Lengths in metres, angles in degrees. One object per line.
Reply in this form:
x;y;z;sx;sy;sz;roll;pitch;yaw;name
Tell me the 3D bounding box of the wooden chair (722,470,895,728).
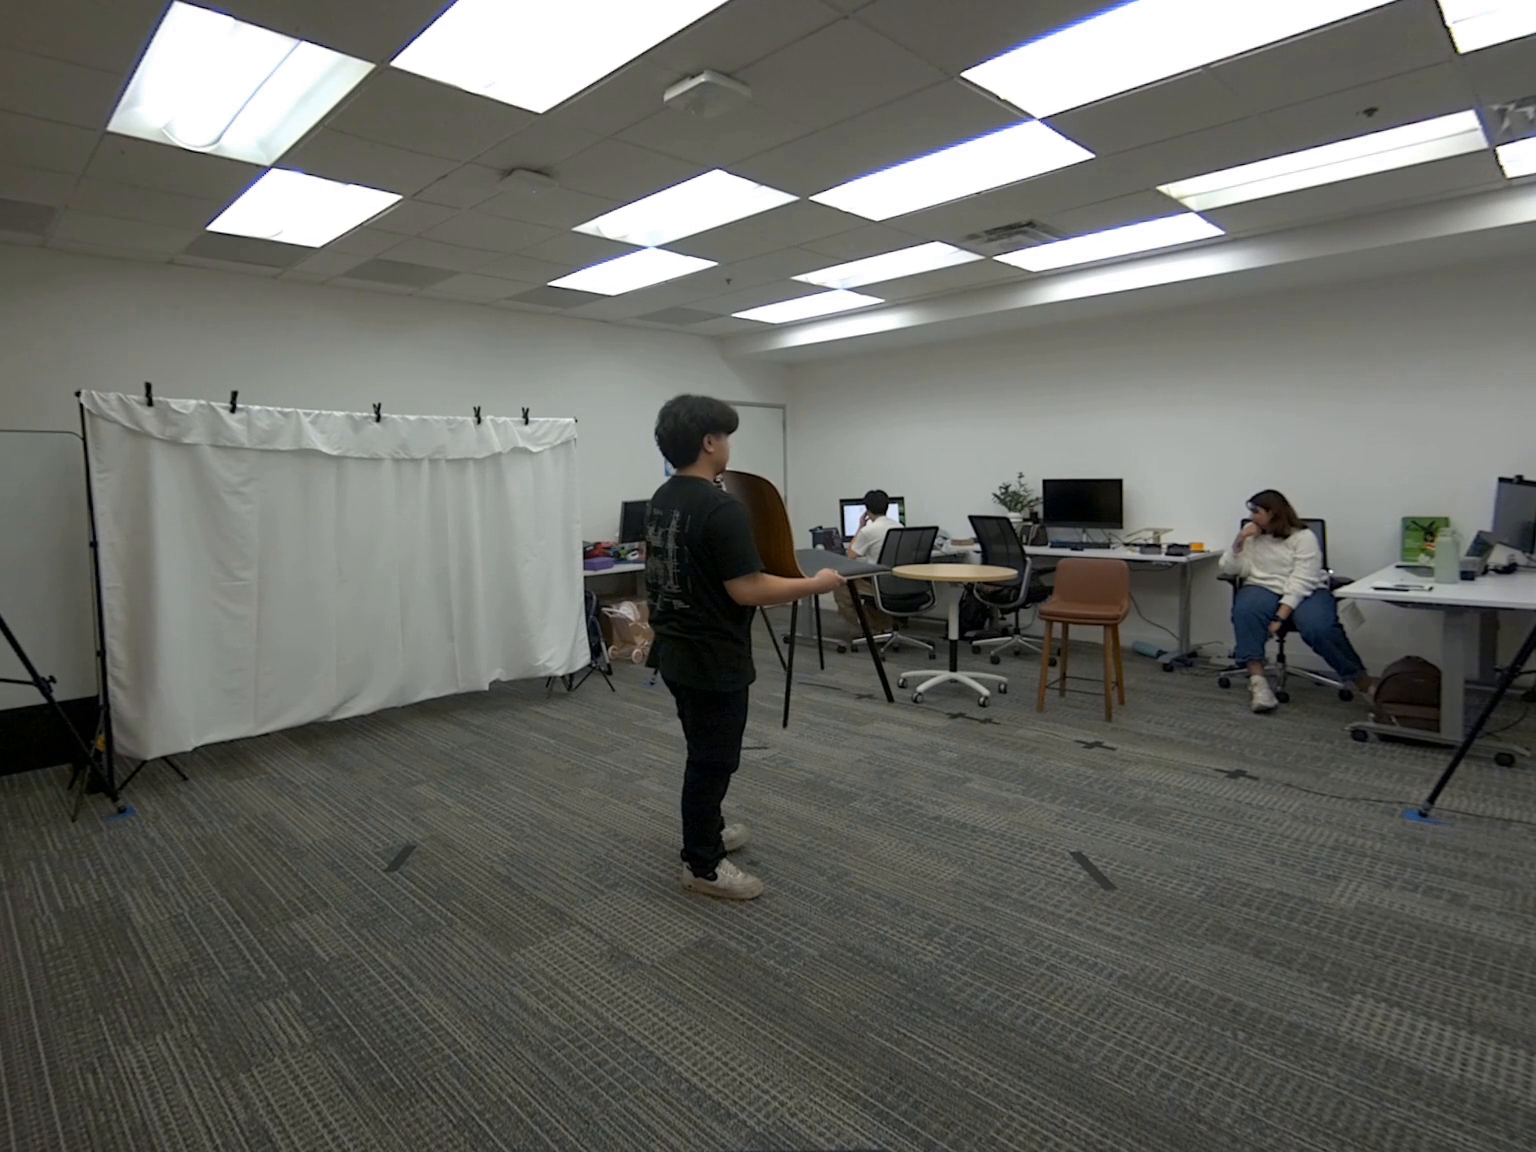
0.131;0.024;3.035;0.513;0.868;0.492;-11;12;-27;wooden chair
